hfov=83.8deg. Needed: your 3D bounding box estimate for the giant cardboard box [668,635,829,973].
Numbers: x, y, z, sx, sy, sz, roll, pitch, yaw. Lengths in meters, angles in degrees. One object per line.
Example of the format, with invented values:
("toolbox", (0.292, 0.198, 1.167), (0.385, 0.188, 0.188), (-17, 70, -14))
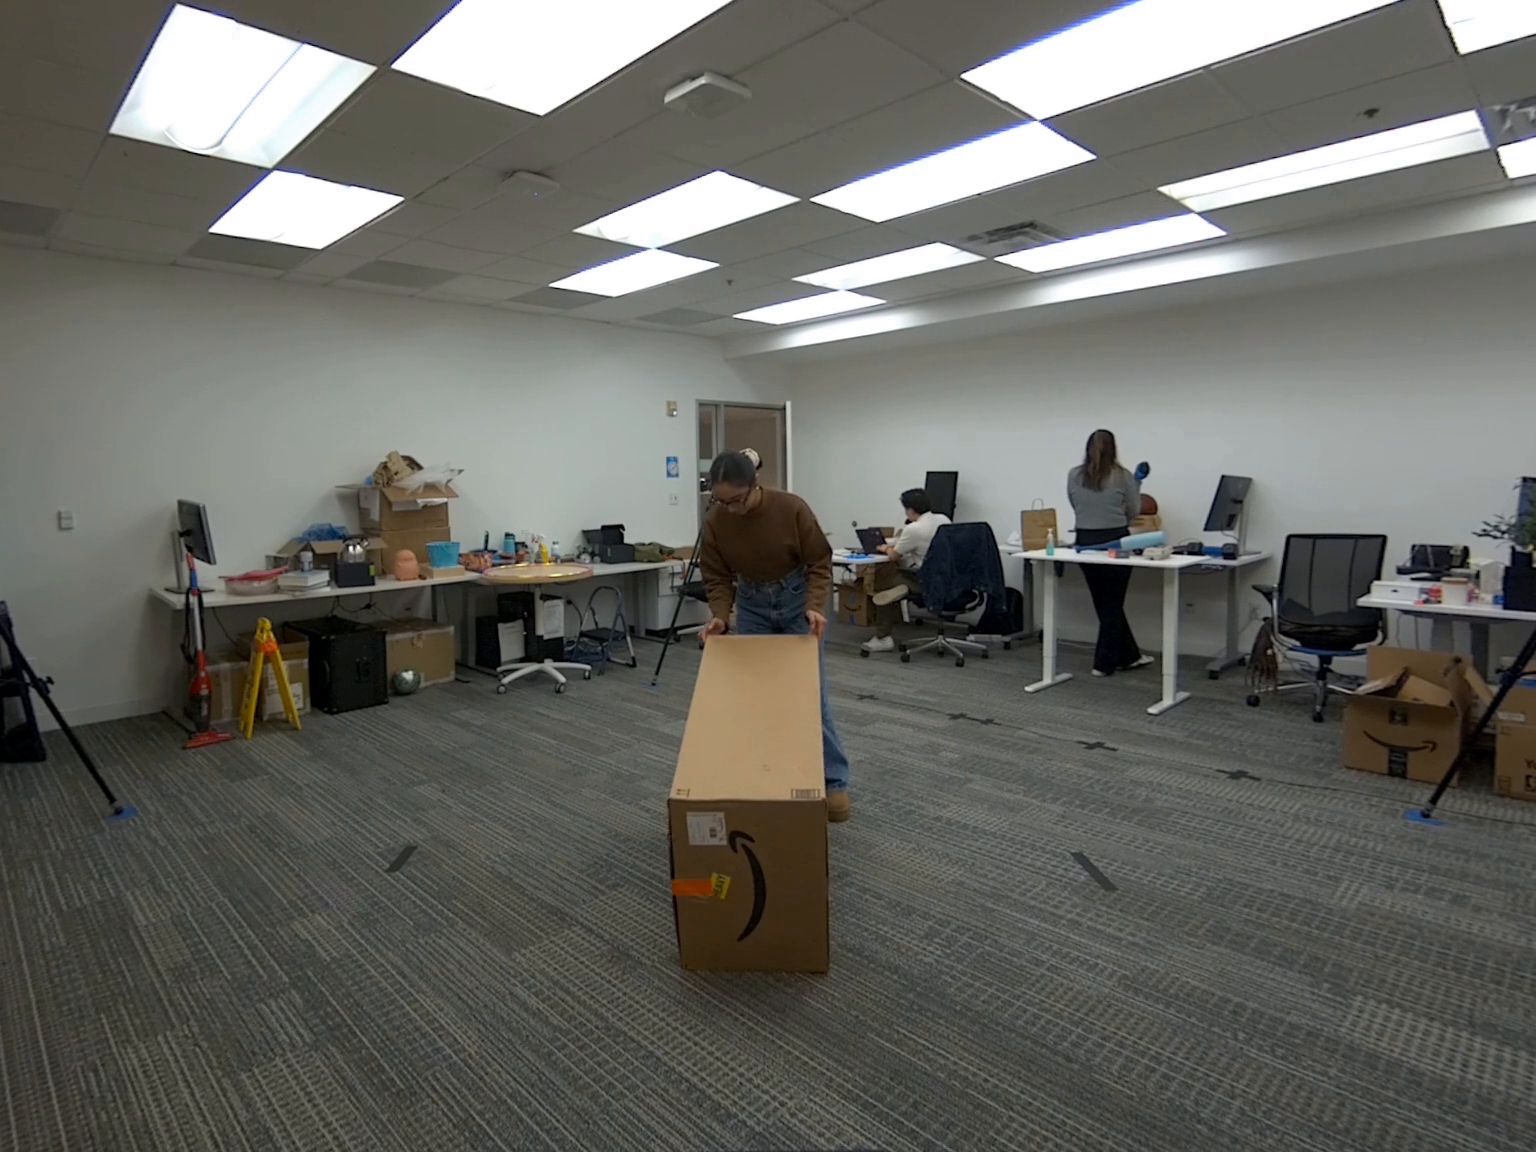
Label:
("giant cardboard box", (-0.039, 0.674, 2.820), (0.428, 0.568, 1.039), (-2, 19, 3))
